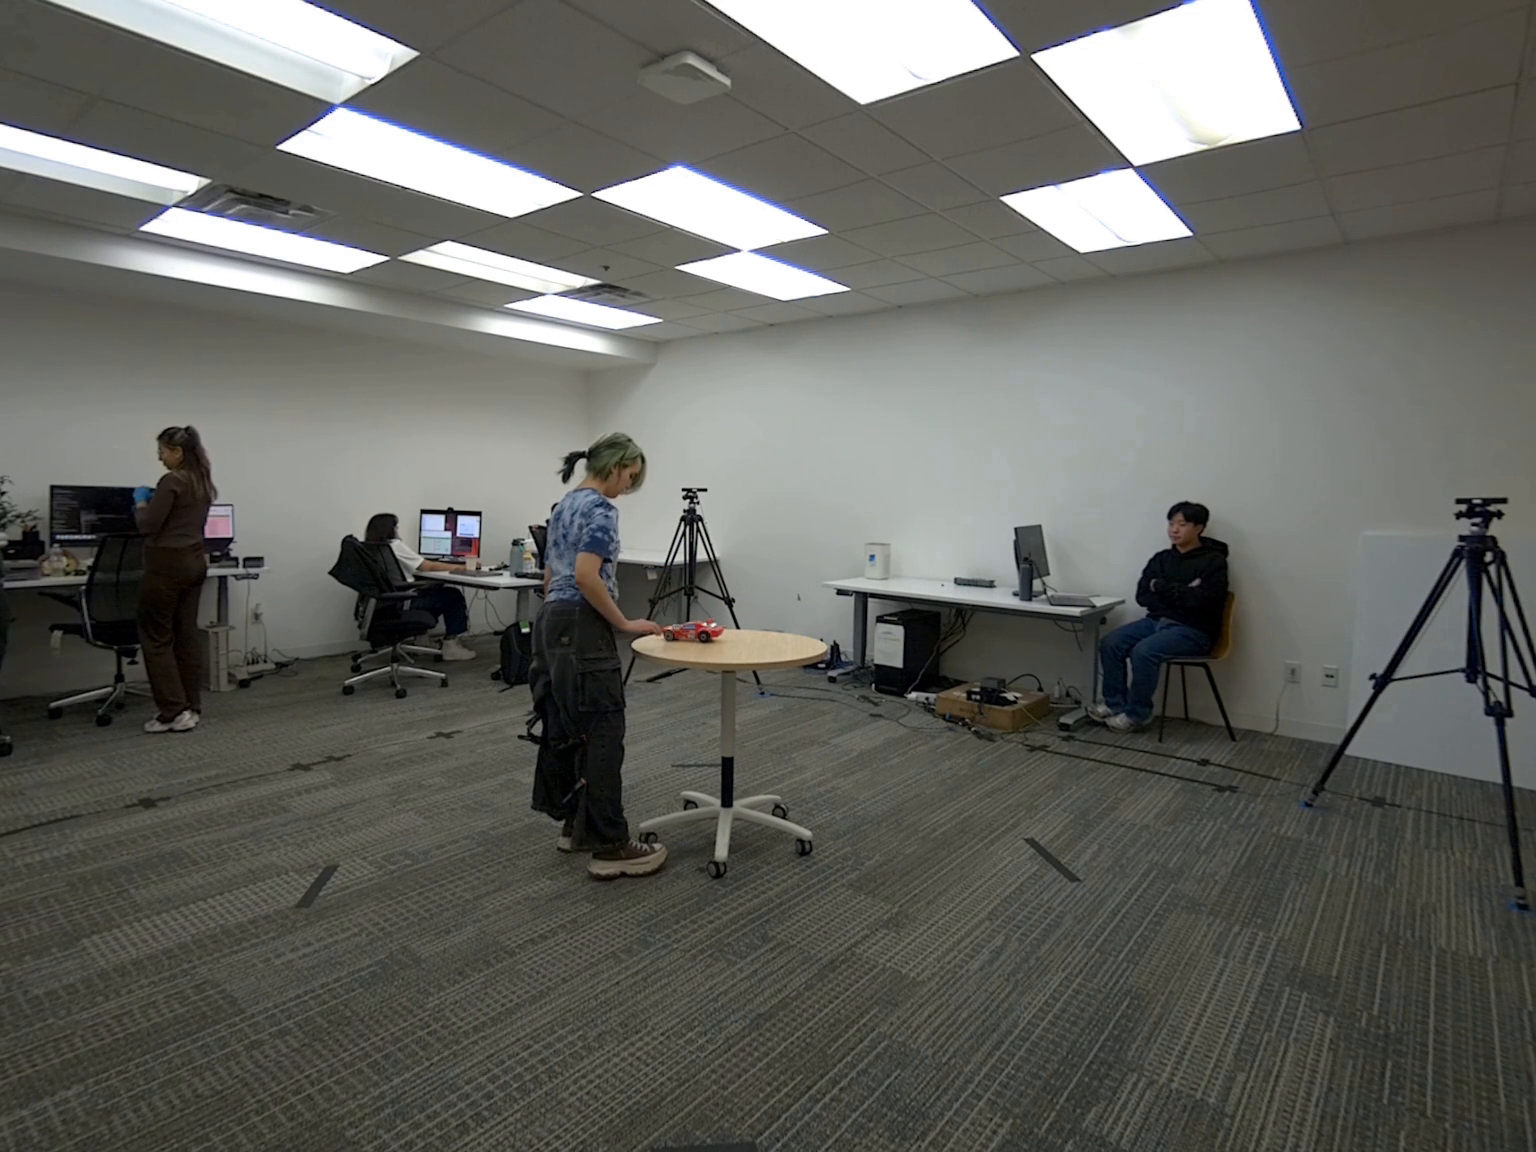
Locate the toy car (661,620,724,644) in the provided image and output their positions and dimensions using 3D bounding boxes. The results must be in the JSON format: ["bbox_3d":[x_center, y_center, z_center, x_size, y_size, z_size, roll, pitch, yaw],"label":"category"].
[{"bbox_3d":[-0.309,0.227,3.422,0.257,0.083,0.129,-10,3,12],"label":"toy car"}]
